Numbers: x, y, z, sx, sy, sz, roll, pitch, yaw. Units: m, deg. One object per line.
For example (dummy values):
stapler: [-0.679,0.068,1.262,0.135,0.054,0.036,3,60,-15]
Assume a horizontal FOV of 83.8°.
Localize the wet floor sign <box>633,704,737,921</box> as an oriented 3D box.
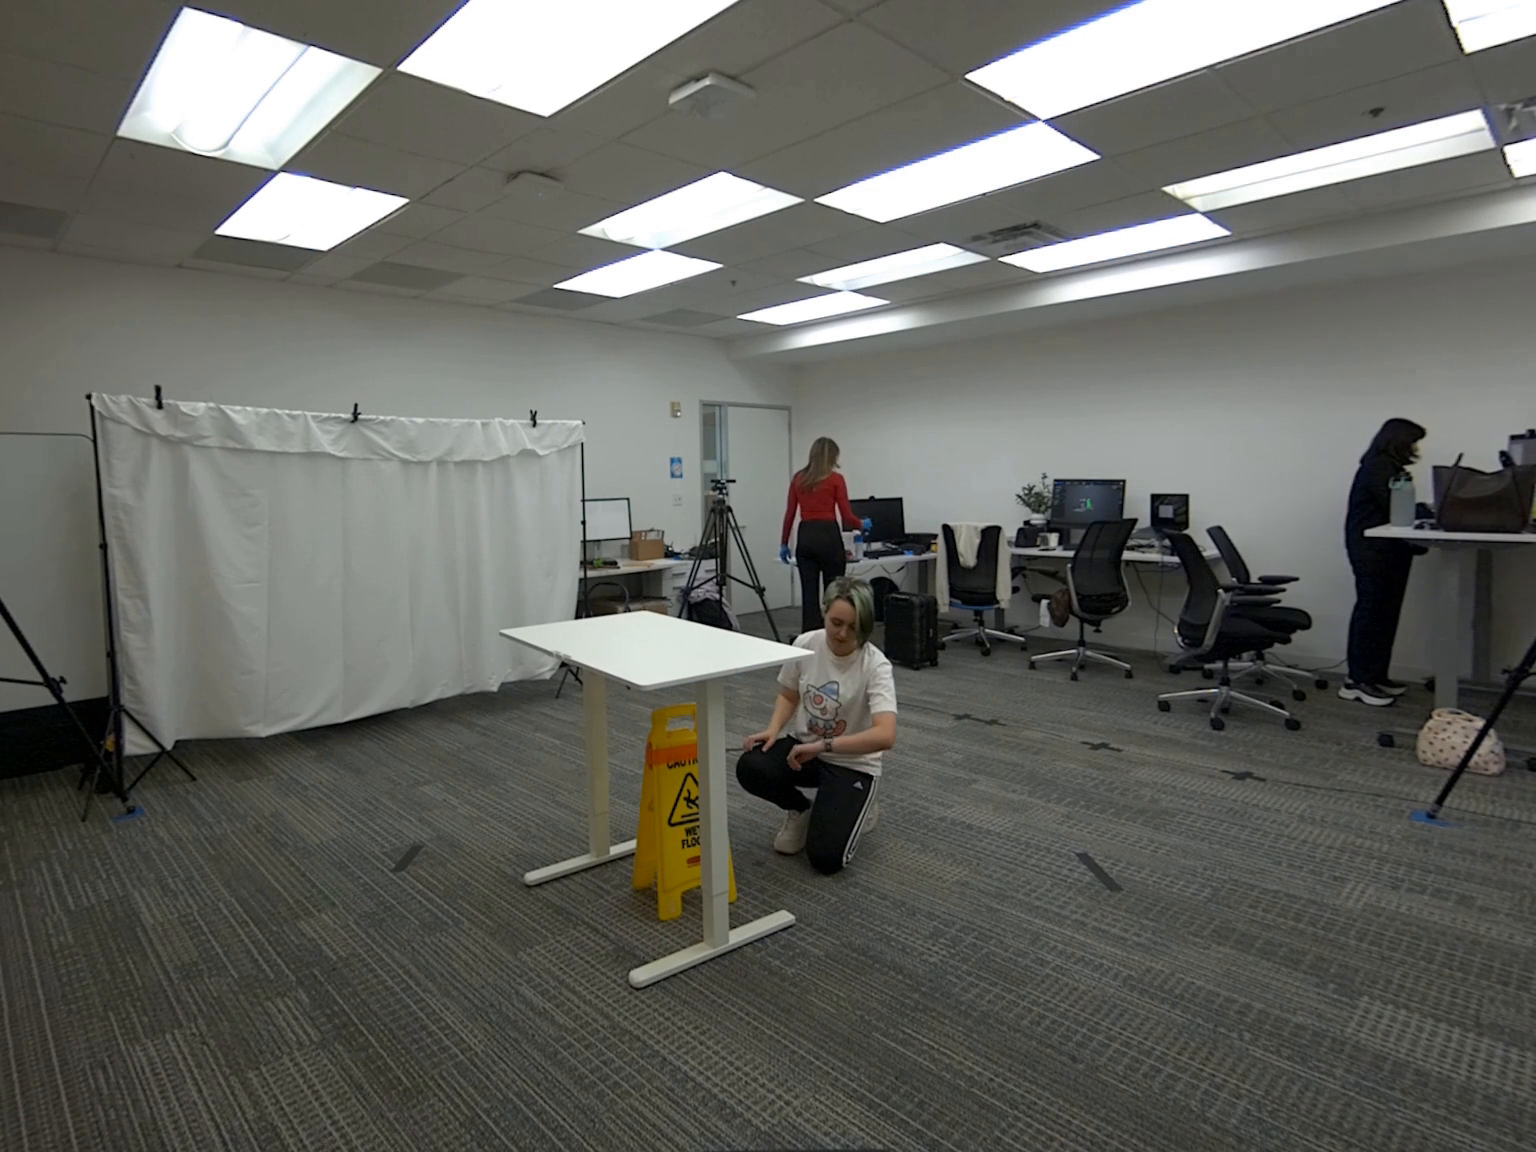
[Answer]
wet floor sign: [-0.289,0.752,2.864,0.276,0.644,0.297,-2,4,-28]
